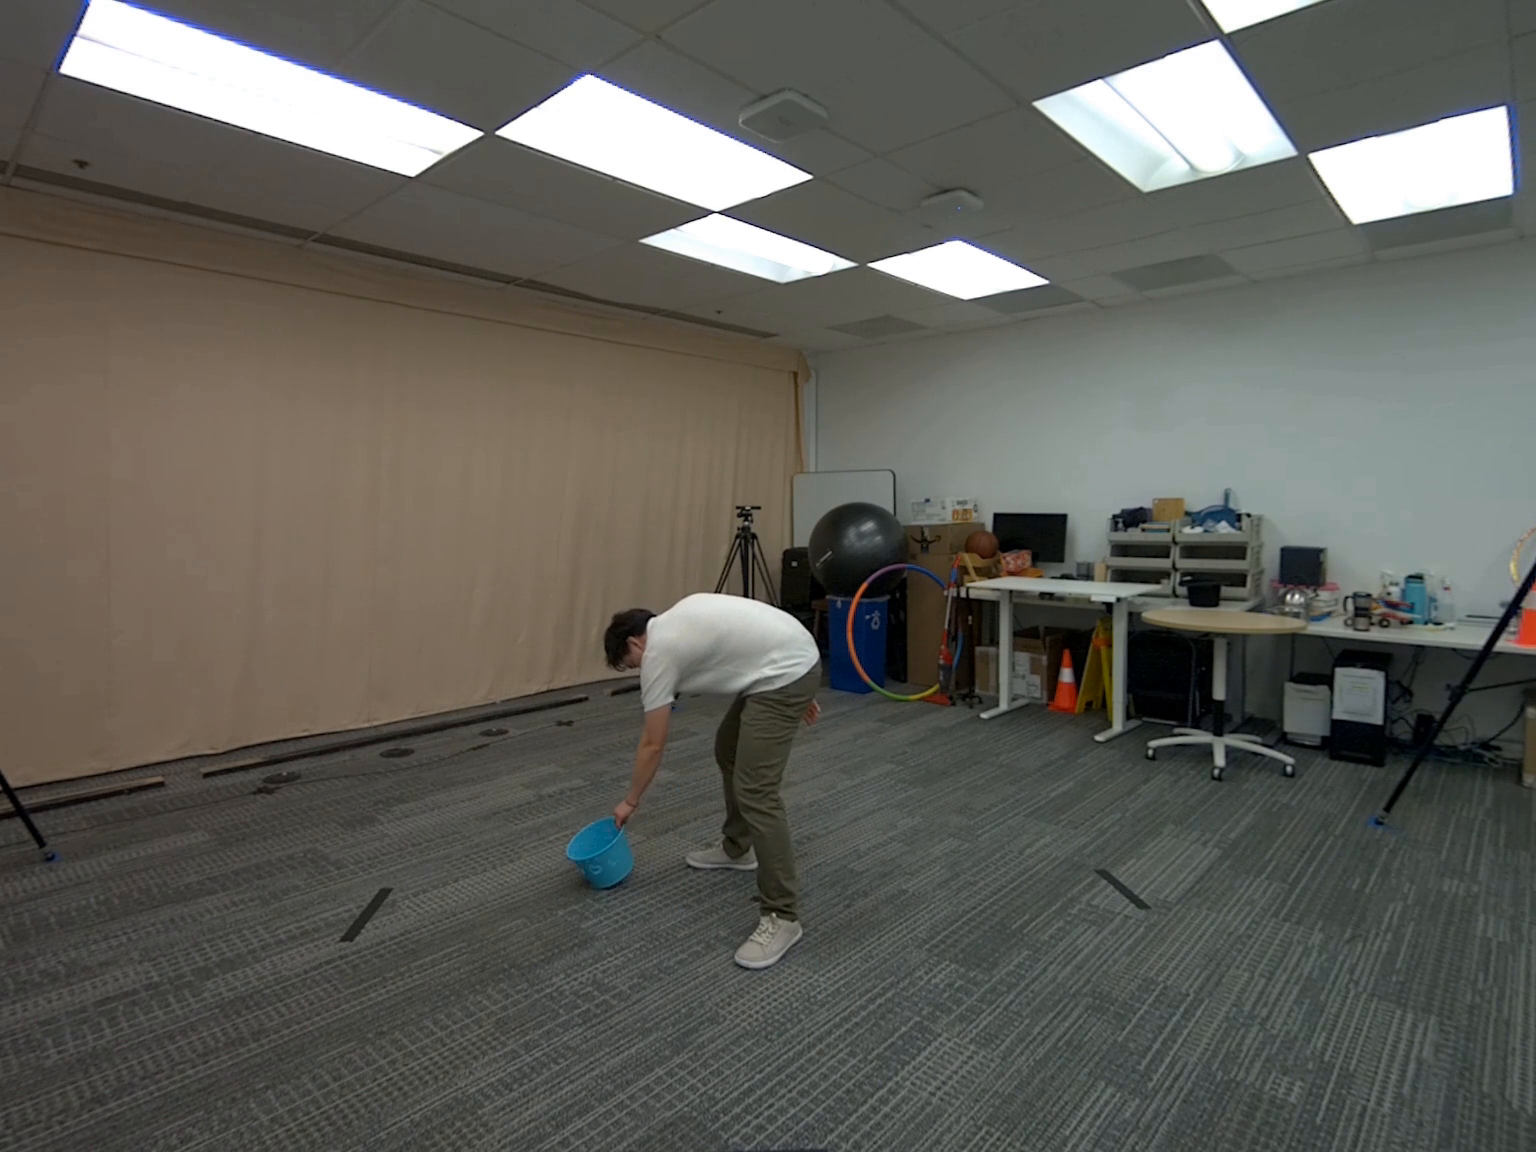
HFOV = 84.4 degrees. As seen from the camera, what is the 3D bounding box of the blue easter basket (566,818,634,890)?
[{"bbox_3d":[-0.598,1.034,3.097,0.244,0.153,0.246,-20,17,4],"label":"blue easter basket"}]
